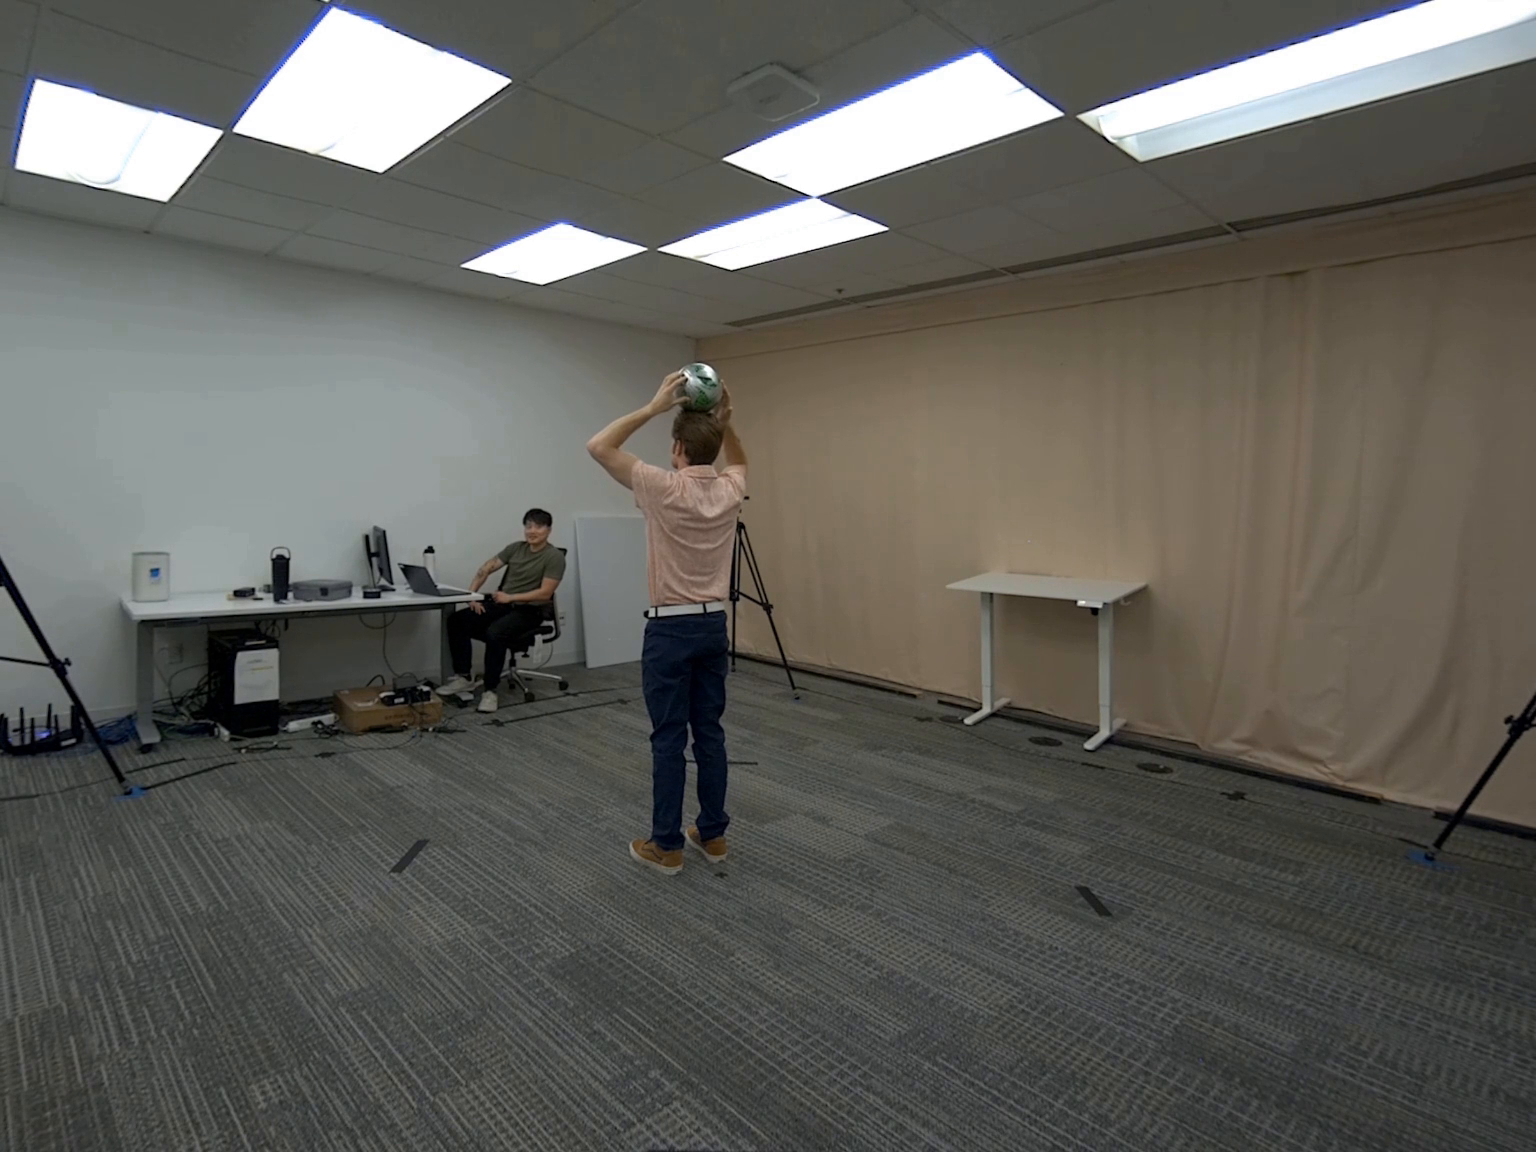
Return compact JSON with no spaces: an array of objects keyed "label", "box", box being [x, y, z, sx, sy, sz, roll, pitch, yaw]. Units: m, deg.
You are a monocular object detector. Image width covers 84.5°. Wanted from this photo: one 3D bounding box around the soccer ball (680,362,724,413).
[{"label":"soccer ball","box":[-0.273,-0.701,3.148,0.187,0.187,0.188,1,4,-1]}]
